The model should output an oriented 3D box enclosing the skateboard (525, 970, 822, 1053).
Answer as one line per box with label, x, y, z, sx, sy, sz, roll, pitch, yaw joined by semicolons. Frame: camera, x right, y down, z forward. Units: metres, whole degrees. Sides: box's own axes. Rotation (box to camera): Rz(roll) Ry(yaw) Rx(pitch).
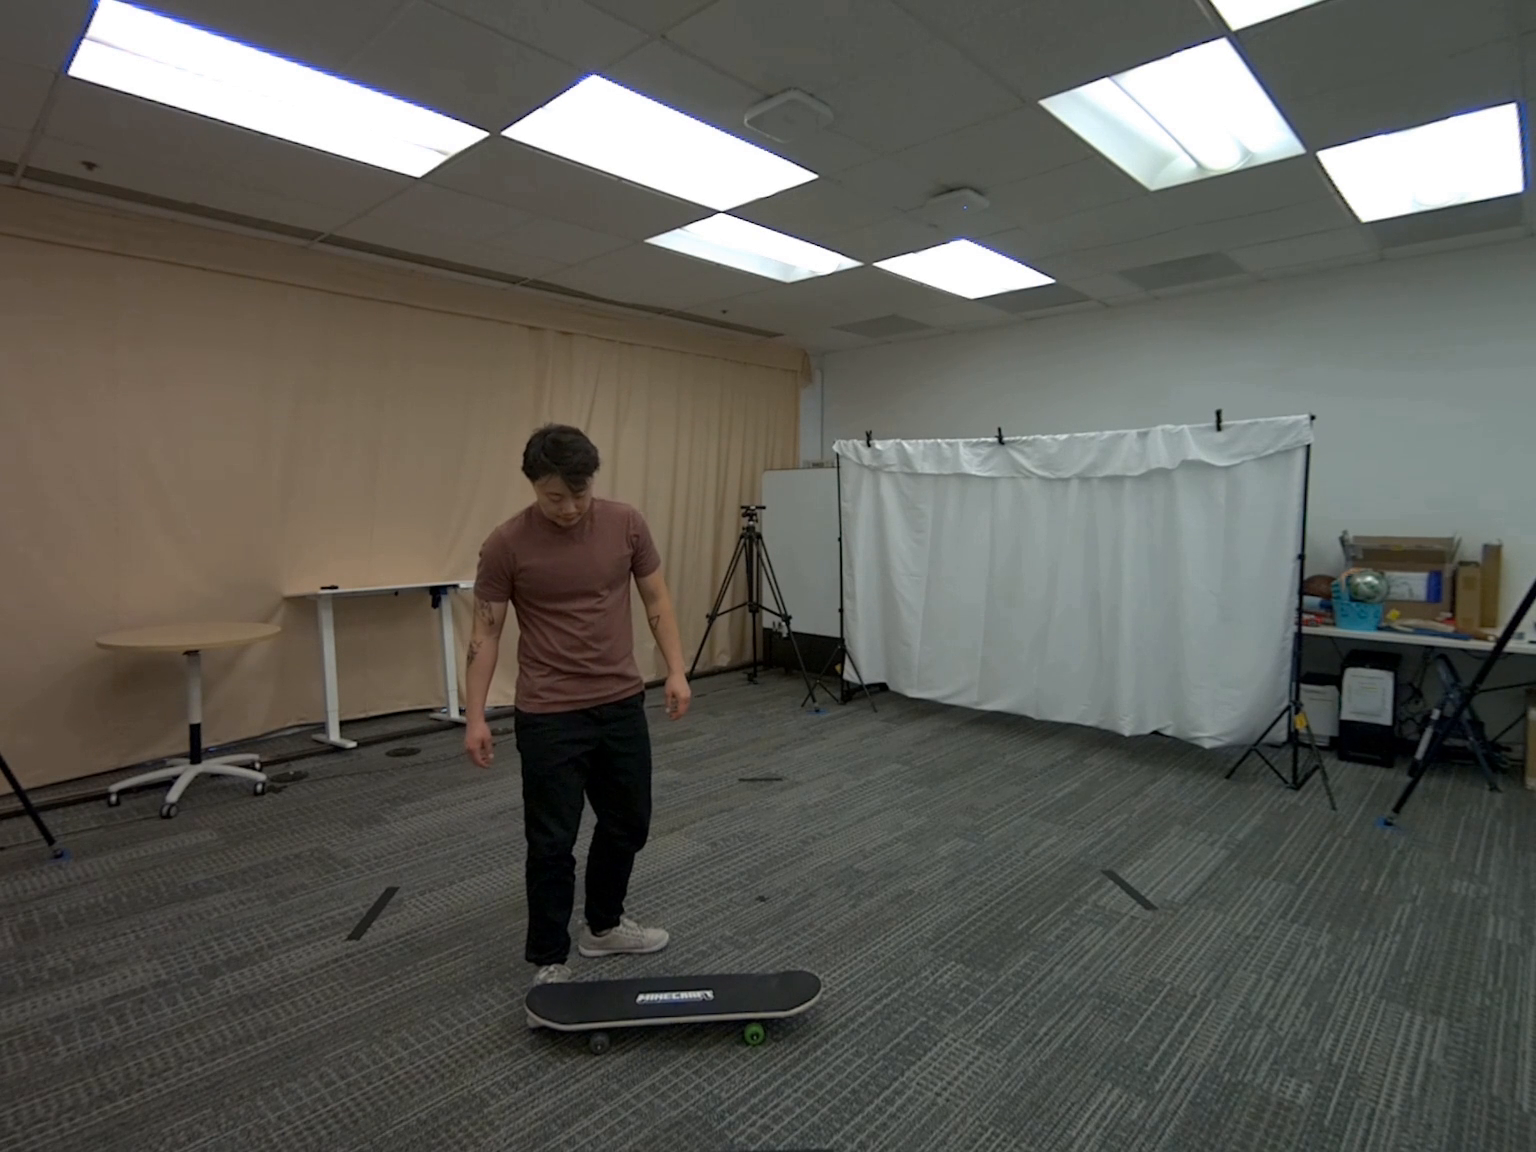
skateboard;-0.233;1.151;2.232;0.781;0.110;0.195;-1;3;-5
